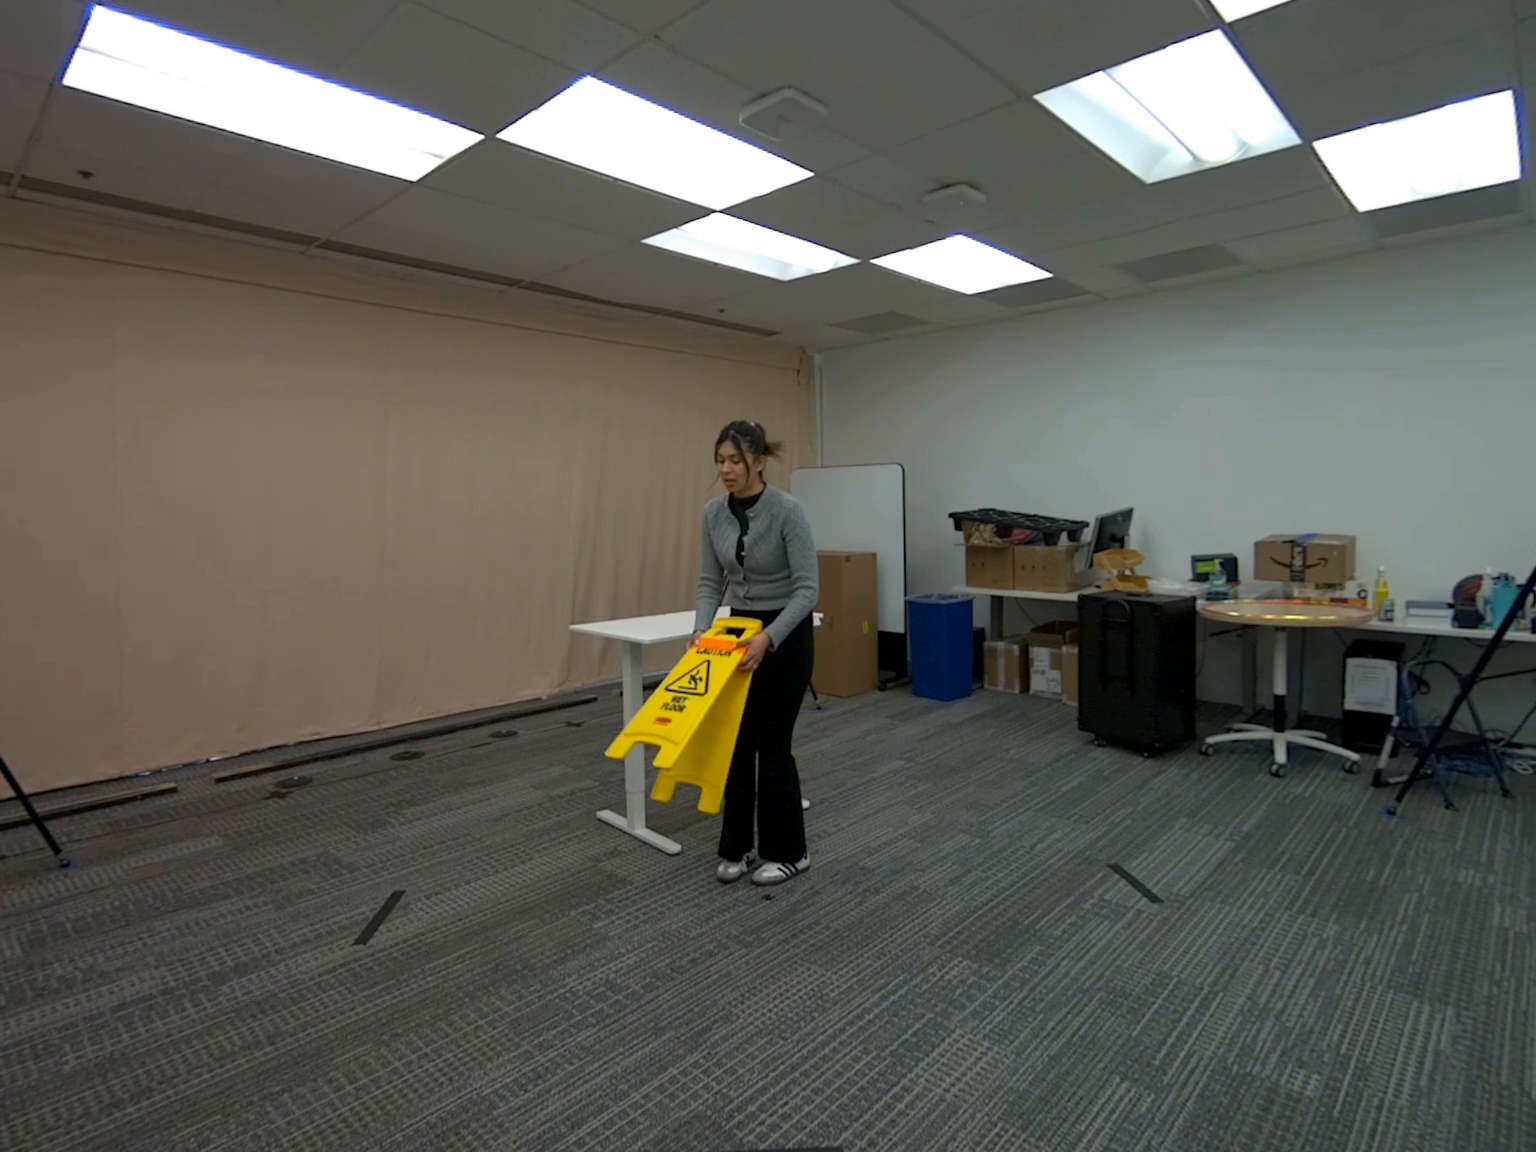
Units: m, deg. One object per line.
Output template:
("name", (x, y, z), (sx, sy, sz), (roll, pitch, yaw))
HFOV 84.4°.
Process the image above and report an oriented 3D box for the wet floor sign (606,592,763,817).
("wet floor sign", (-0.212, 0.400, 2.792), (0.291, 0.648, 0.280), (-1, -39, 35))
